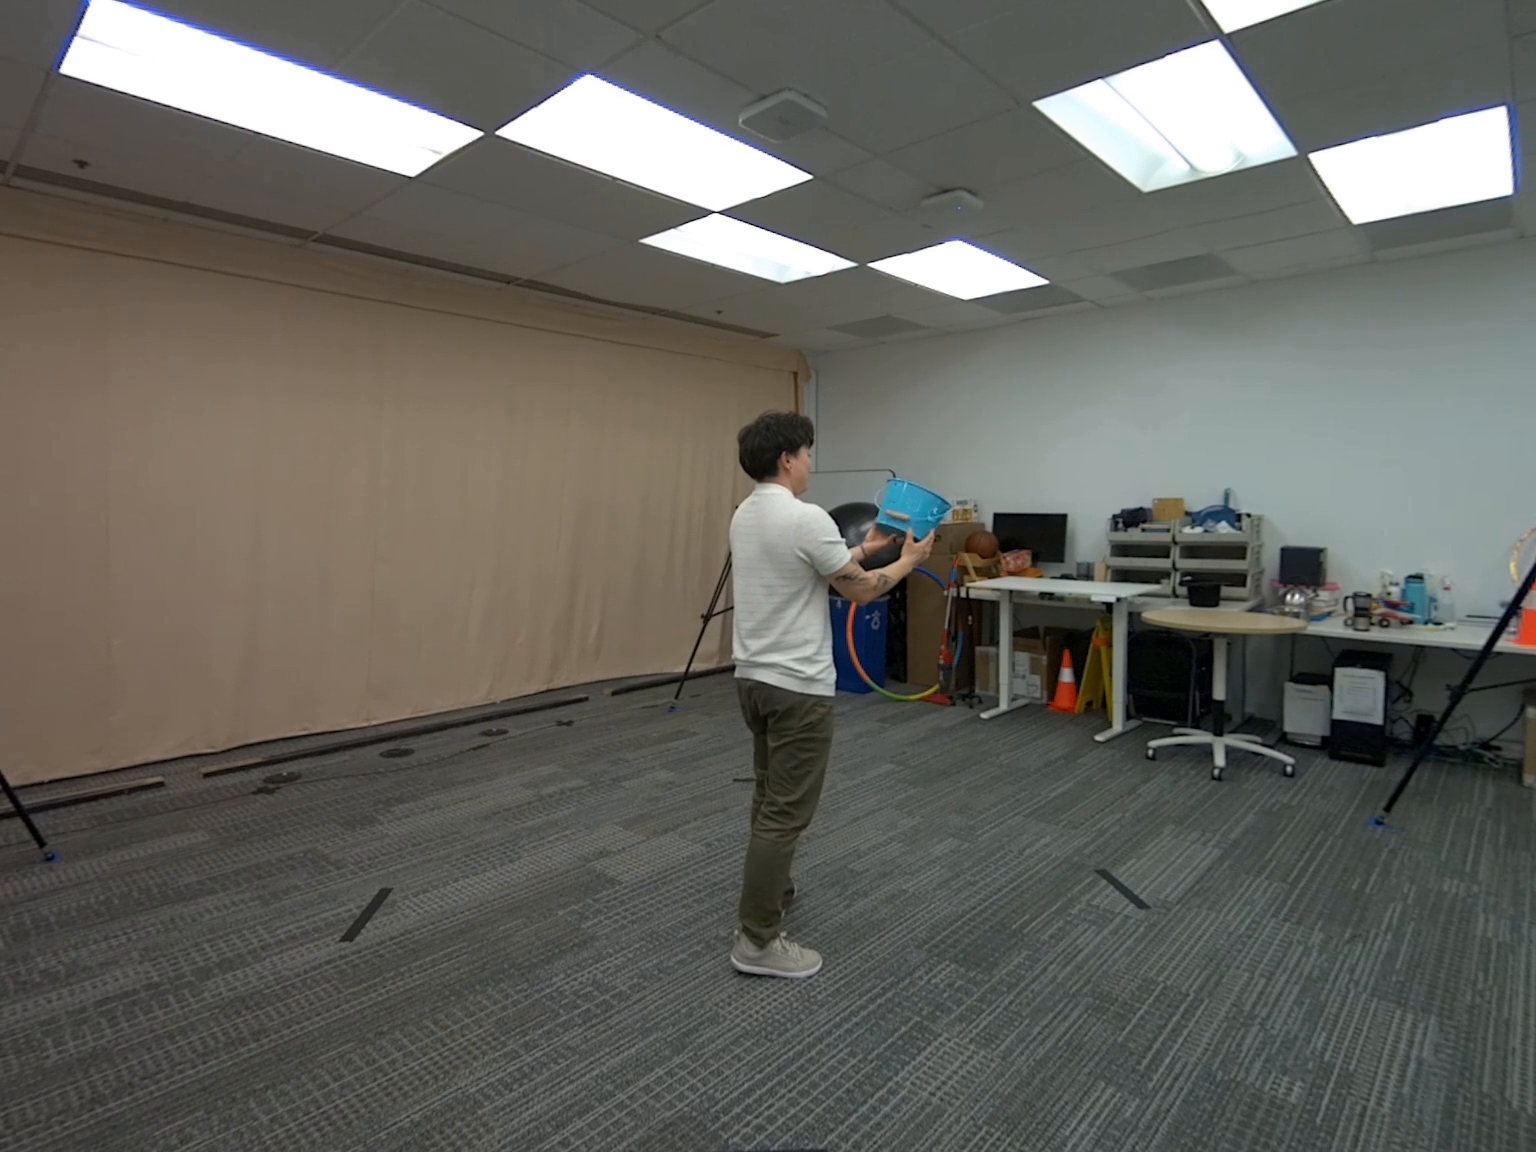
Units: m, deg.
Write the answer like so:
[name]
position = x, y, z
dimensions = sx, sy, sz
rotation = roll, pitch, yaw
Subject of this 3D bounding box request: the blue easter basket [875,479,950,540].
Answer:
[blue easter basket]
position = 0.479, -0.206, 2.814
dimensions = 0.244, 0.156, 0.243
rotation = 26, -2, -1
